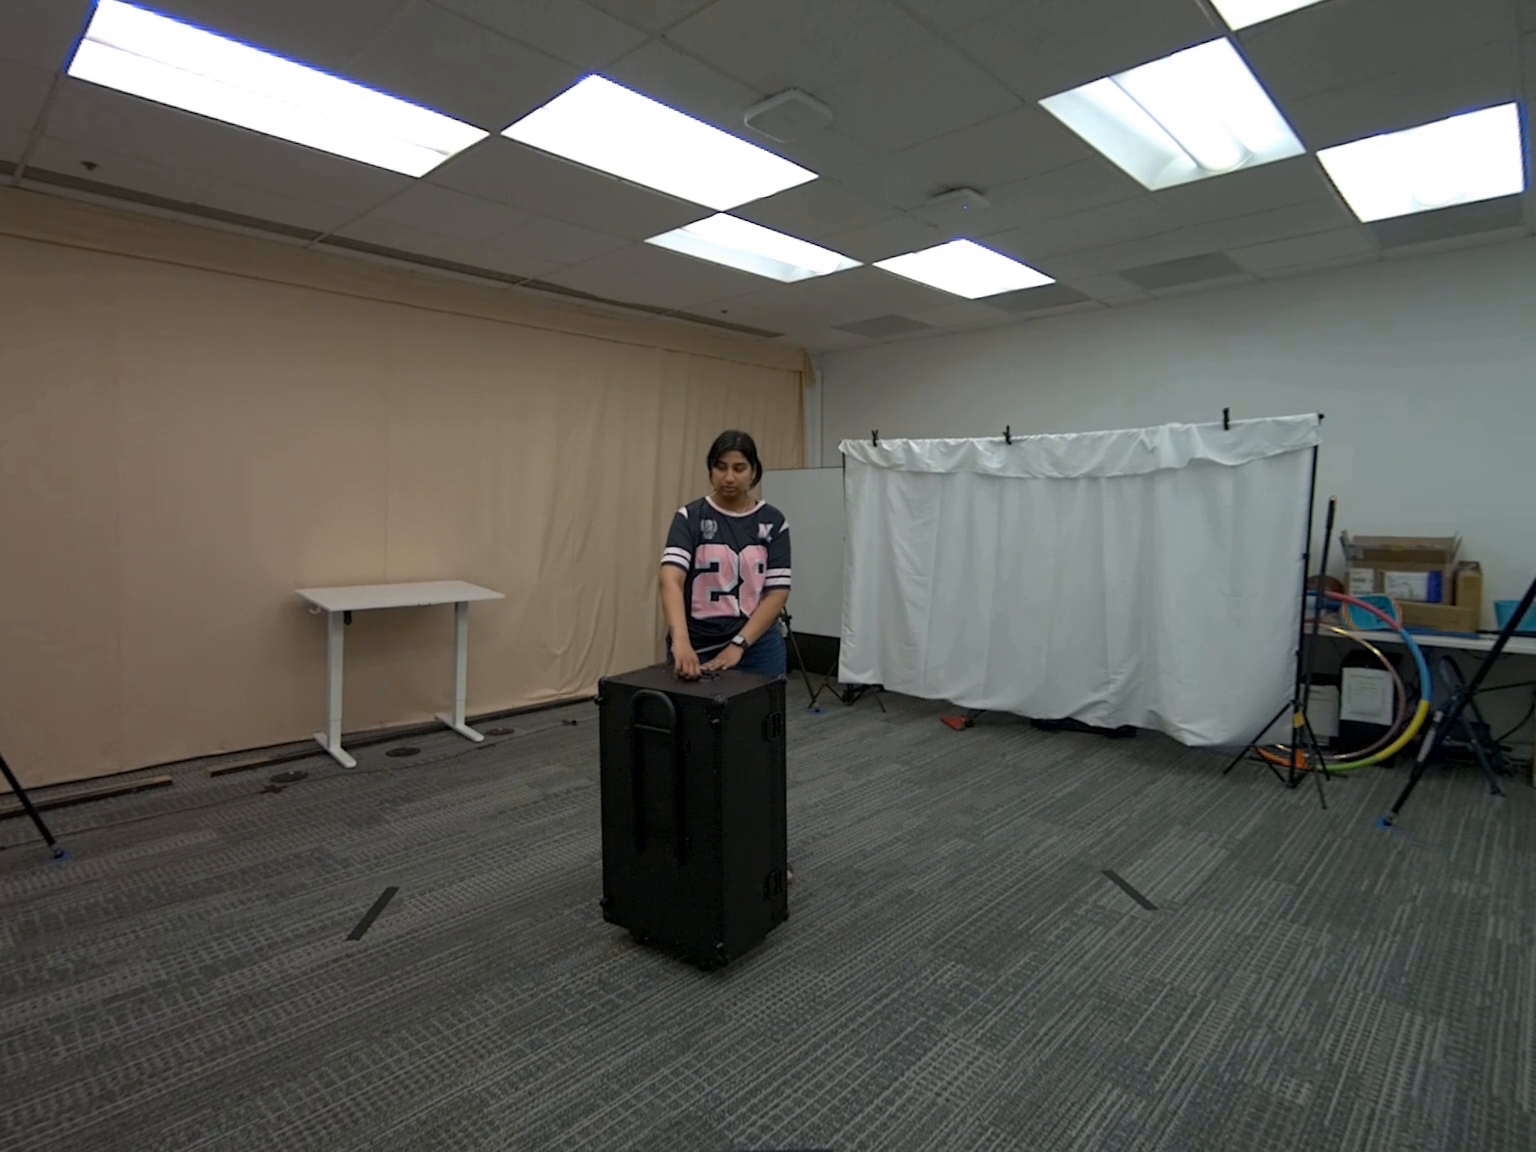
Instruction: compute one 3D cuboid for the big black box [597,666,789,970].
[{"bbox_3d":[-0.228,0.748,2.666,0.539,0.866,0.374,2,4,34],"label":"big black box"}]
